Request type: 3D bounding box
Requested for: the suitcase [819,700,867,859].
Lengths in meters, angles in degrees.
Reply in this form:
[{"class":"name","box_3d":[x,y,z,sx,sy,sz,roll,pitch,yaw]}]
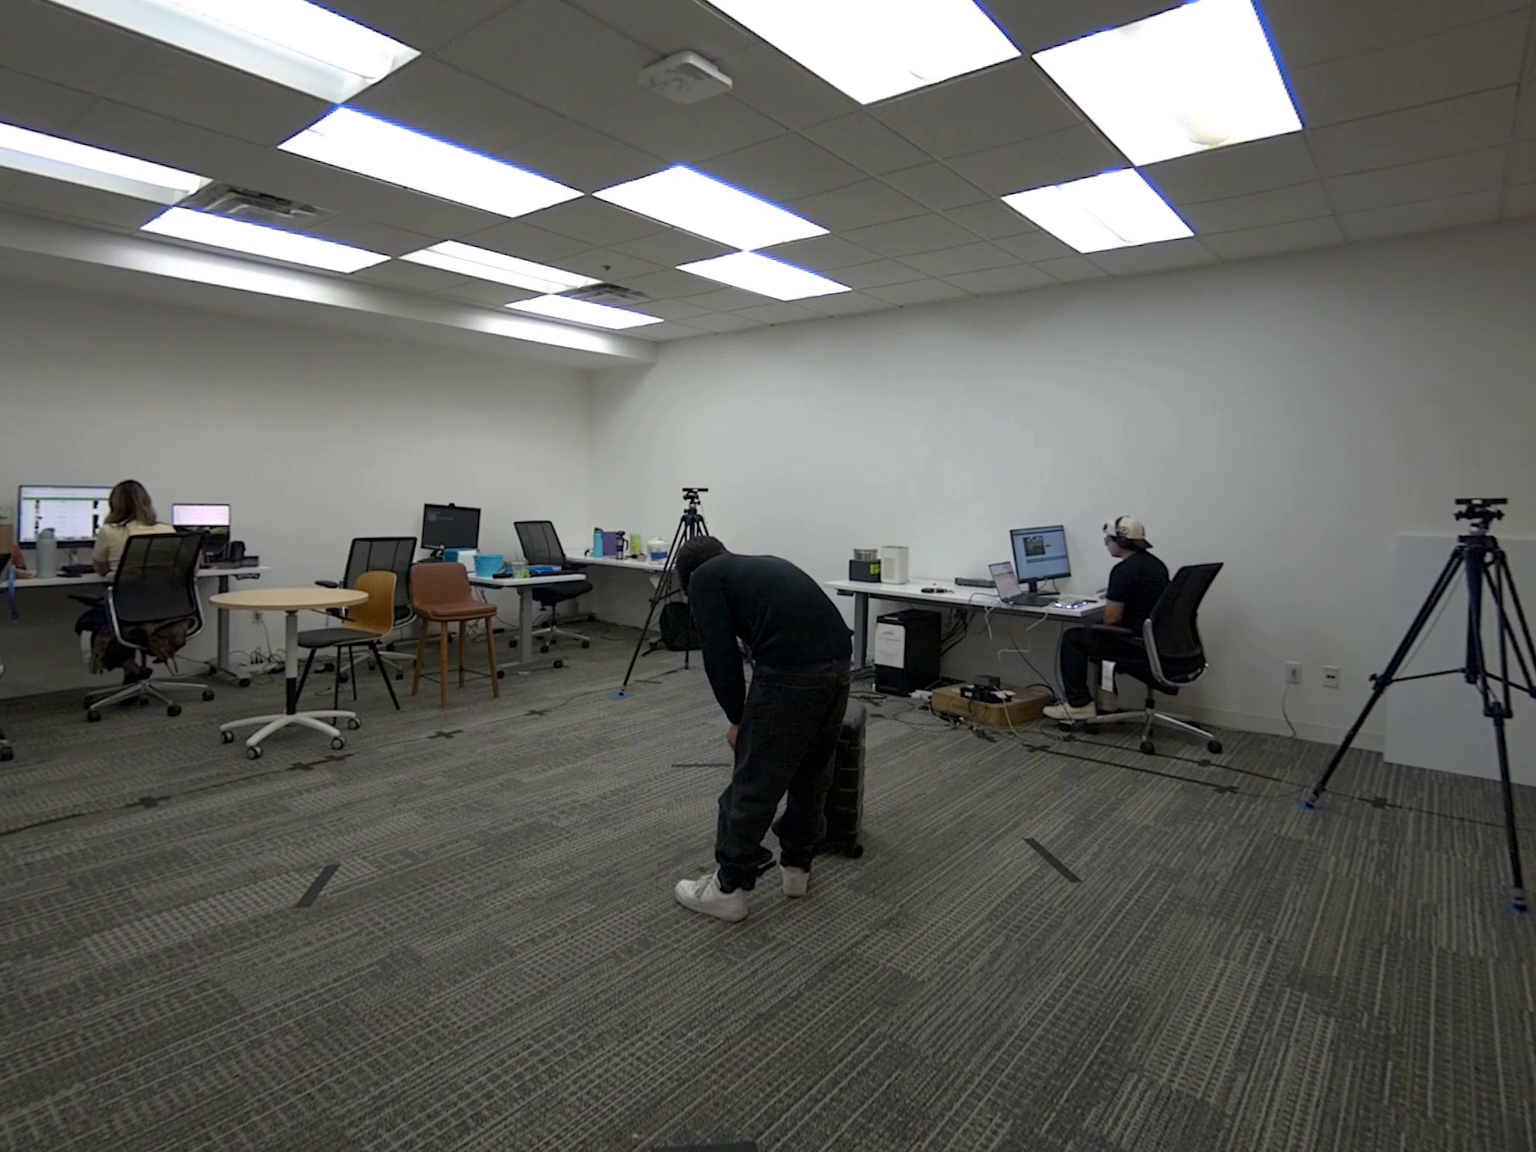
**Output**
[{"class":"suitcase","box_3d":[0.248,0.775,3.393,0.252,0.548,0.371,3,4,12]}]
